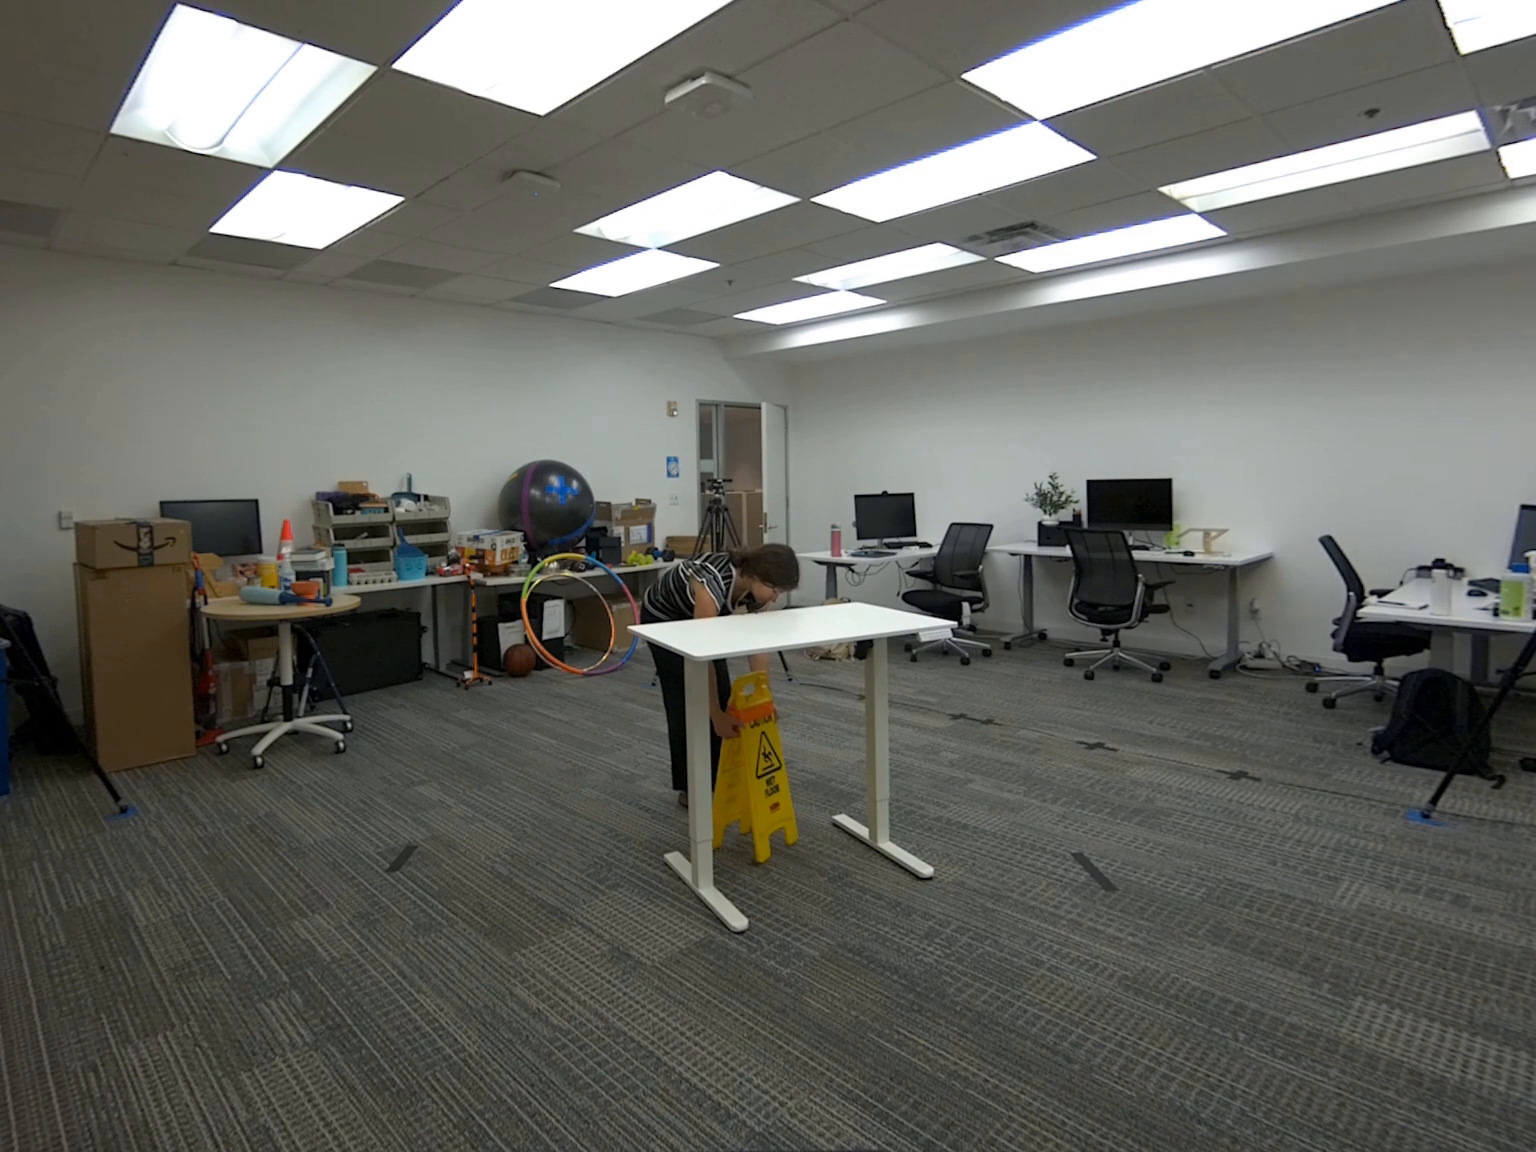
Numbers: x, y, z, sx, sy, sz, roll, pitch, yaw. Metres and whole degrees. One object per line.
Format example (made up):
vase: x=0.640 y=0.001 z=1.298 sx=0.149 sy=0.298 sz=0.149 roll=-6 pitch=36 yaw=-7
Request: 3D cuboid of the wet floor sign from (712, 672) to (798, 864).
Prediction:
wet floor sign: x=-0.058 y=0.697 z=3.240 sx=0.298 sy=0.645 sz=0.275 roll=1 pitch=2 yaw=36
